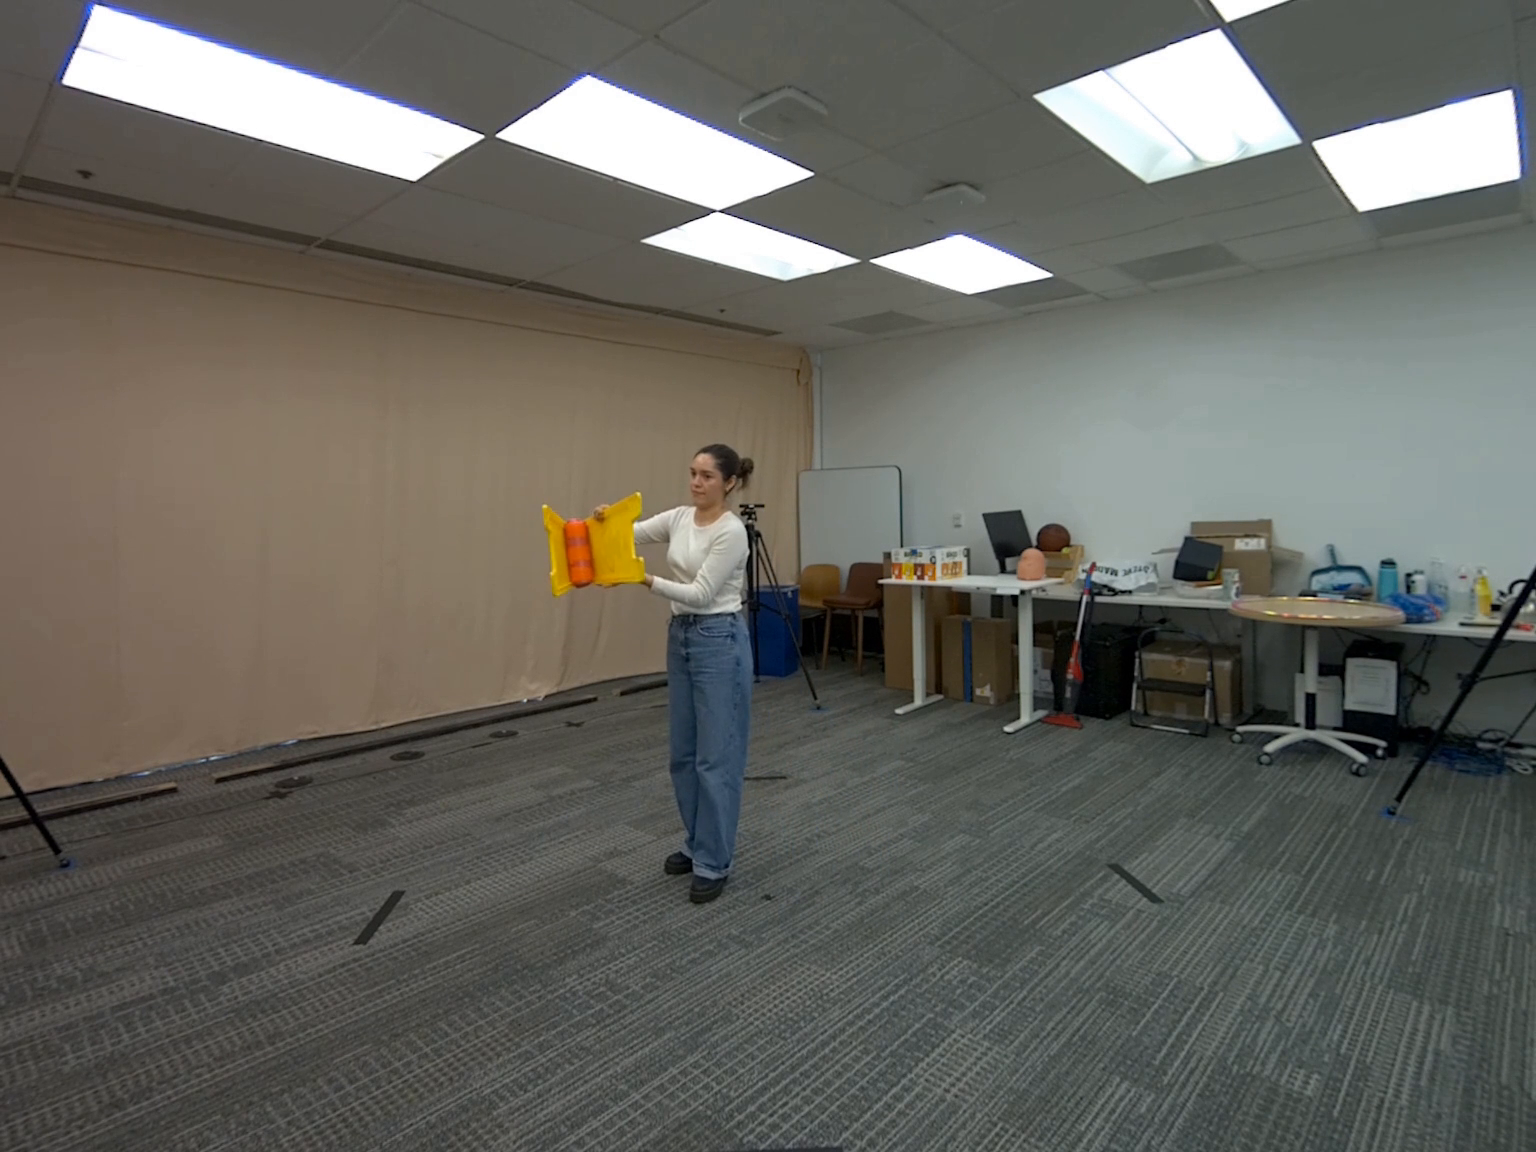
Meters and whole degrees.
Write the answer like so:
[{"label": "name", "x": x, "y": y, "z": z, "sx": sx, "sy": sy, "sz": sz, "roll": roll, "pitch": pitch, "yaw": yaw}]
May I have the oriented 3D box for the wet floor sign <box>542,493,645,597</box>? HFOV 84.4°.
[{"label": "wet floor sign", "x": -0.628, "y": -0.086, "z": 2.883, "sx": 0.285, "sy": 0.282, "sz": 0.656, "roll": -7, "pitch": -1, "yaw": -18}]
